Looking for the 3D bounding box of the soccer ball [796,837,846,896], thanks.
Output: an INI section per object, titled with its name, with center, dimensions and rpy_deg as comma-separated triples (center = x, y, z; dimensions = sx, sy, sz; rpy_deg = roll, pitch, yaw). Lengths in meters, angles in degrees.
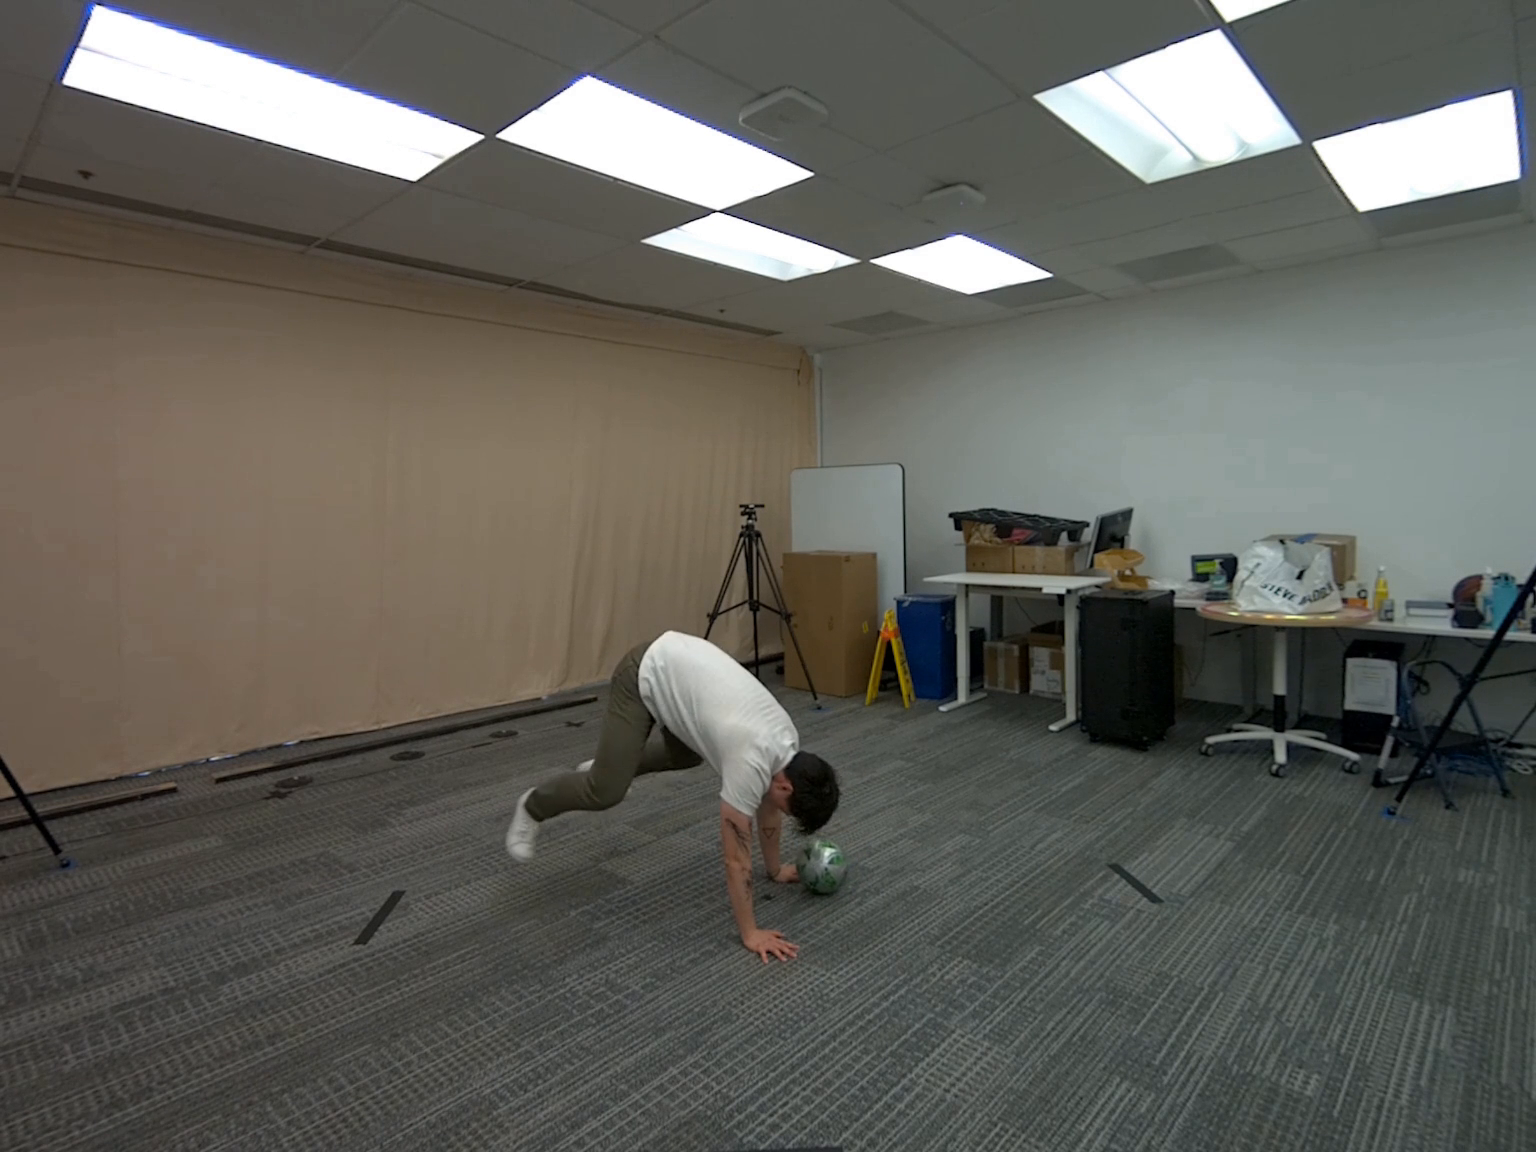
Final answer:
[soccer ball]
center = 0.199, 1.041, 3.017
dimensions = 0.187, 0.187, 0.188
rpy_deg = -1, 4, -2
